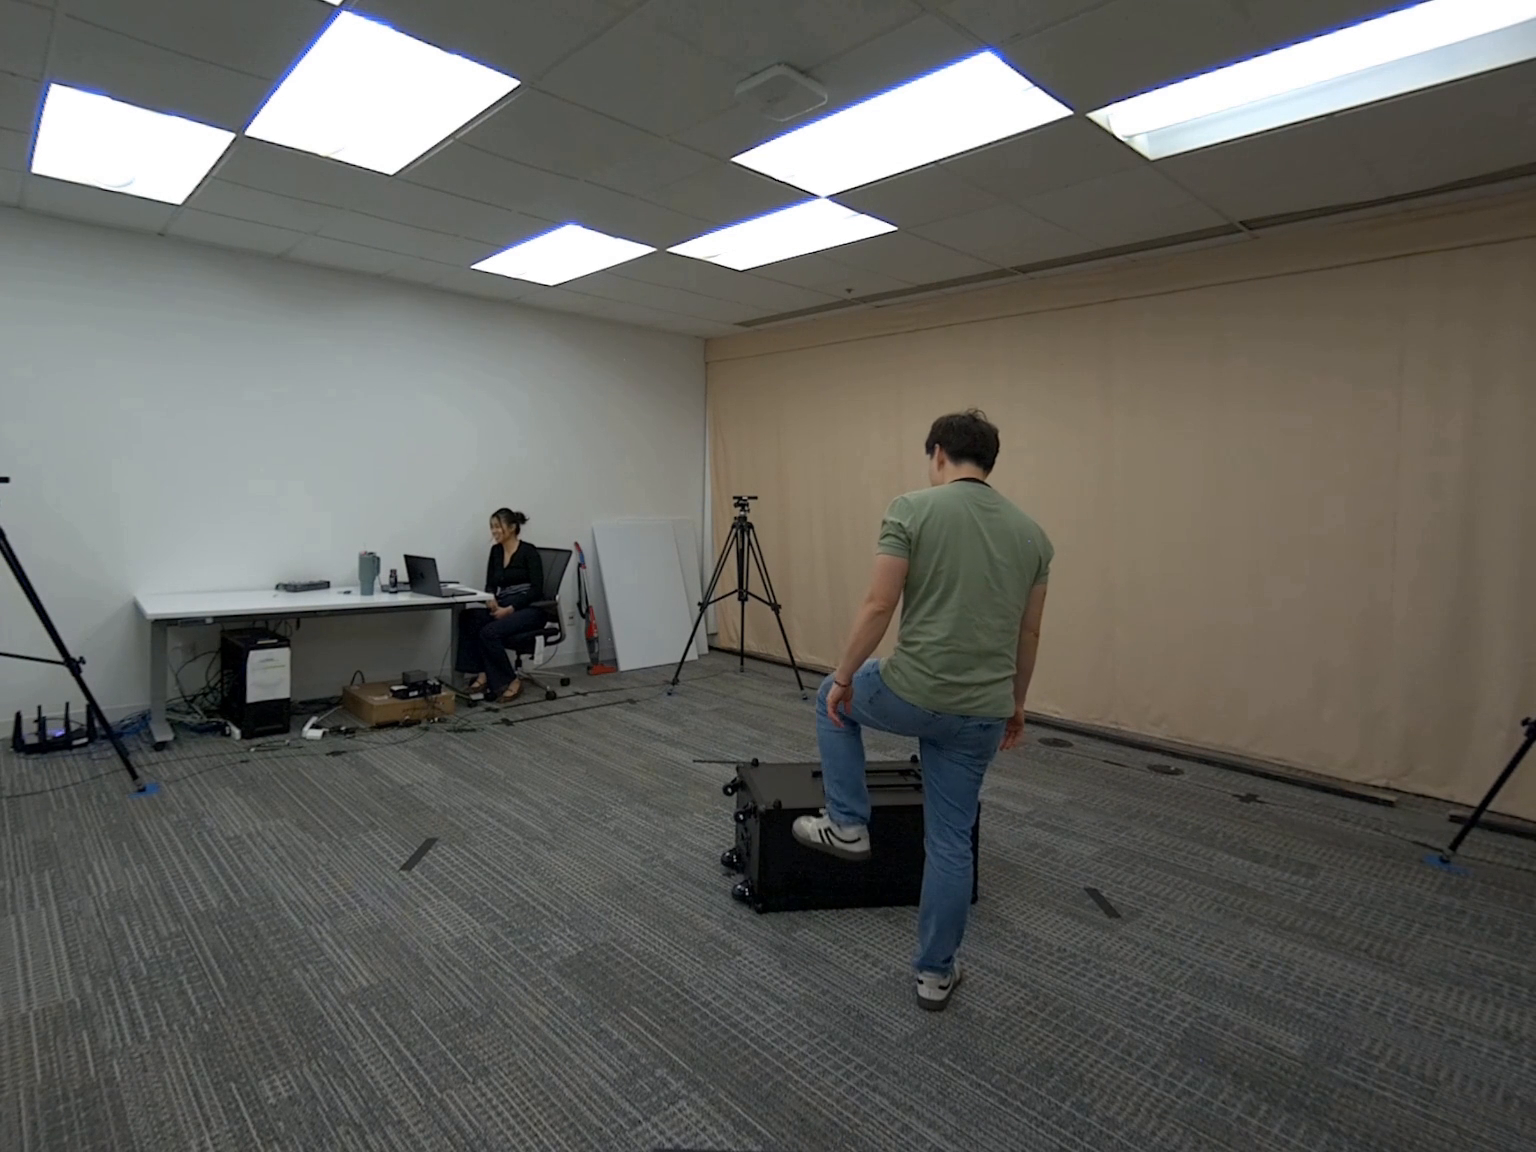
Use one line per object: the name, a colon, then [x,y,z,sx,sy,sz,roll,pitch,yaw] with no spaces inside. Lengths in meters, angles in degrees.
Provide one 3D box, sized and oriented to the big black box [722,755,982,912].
big black box: [0.265,0.920,3.084,0.855,0.395,0.526,-1,5,-9]
